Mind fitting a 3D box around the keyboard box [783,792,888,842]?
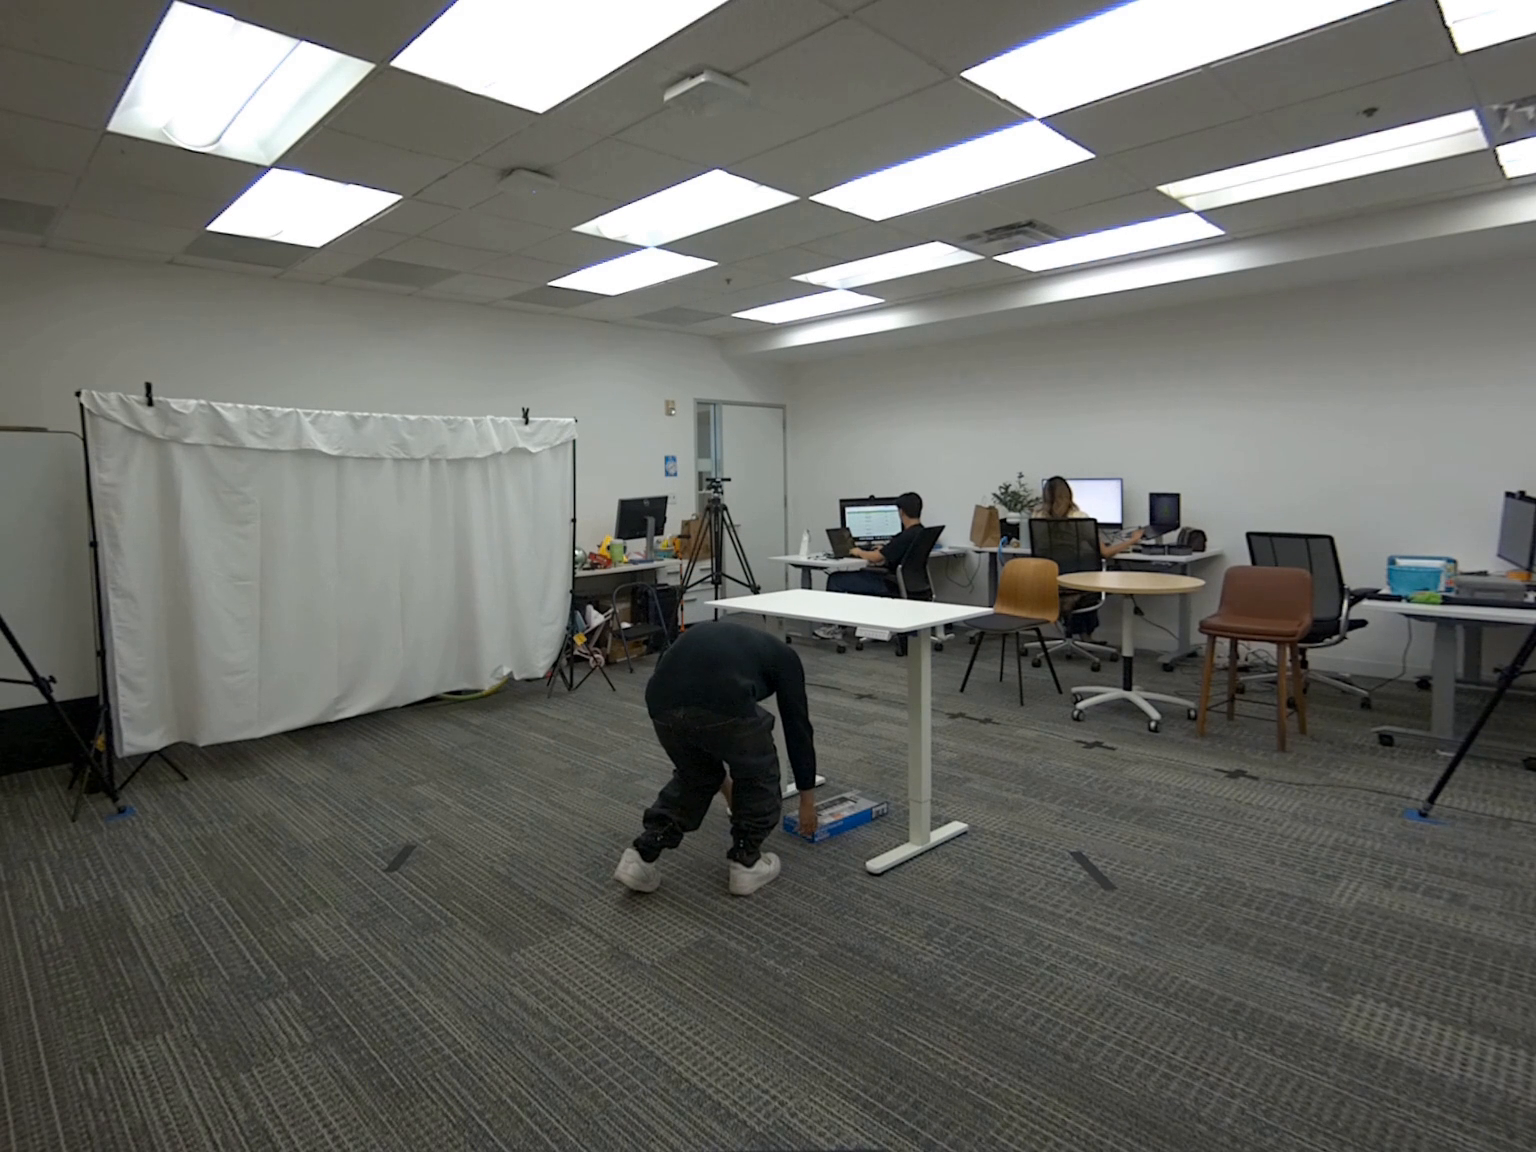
[{"bbox_3d":[0.281,0.966,3.459,0.426,0.059,0.181,-7,9,-40],"label":"keyboard box"}]
